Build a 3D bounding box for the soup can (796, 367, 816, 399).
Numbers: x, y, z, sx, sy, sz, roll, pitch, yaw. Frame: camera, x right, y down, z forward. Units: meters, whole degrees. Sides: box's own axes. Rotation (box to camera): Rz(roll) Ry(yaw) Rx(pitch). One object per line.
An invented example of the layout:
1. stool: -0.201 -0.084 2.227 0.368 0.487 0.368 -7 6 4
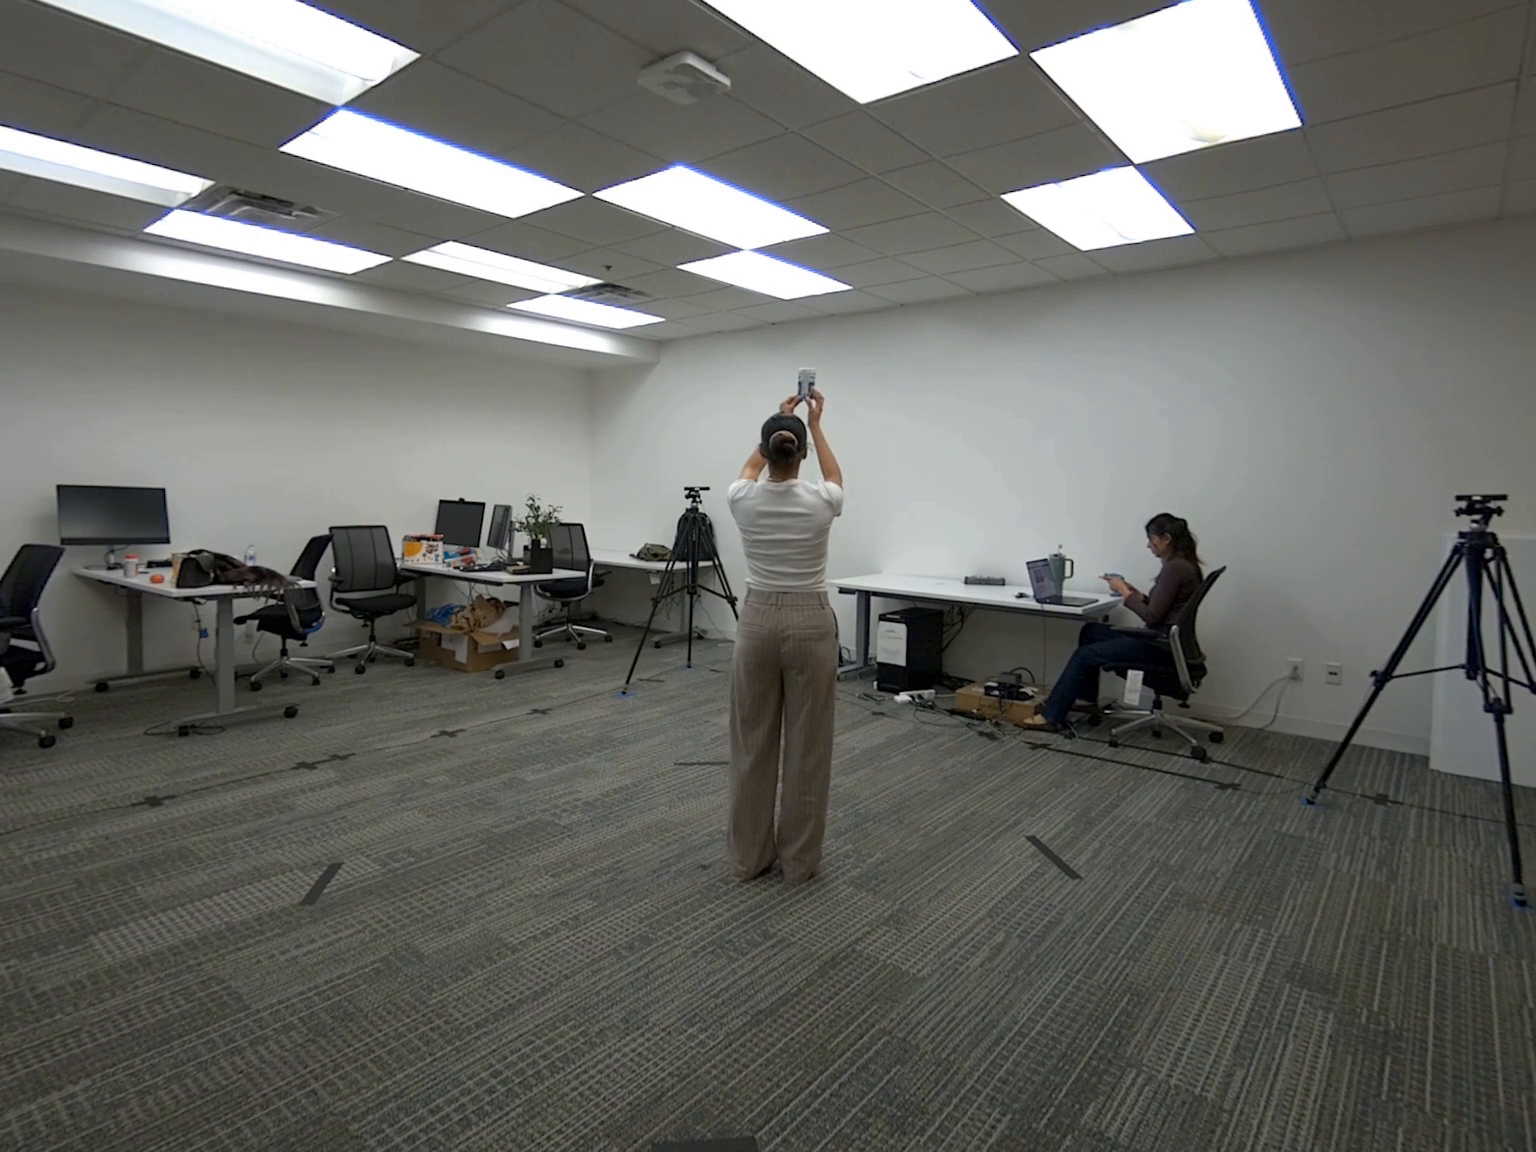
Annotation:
1. soup can: 0.135 -0.755 3.314 0.067 0.121 0.067 2 6 -2
